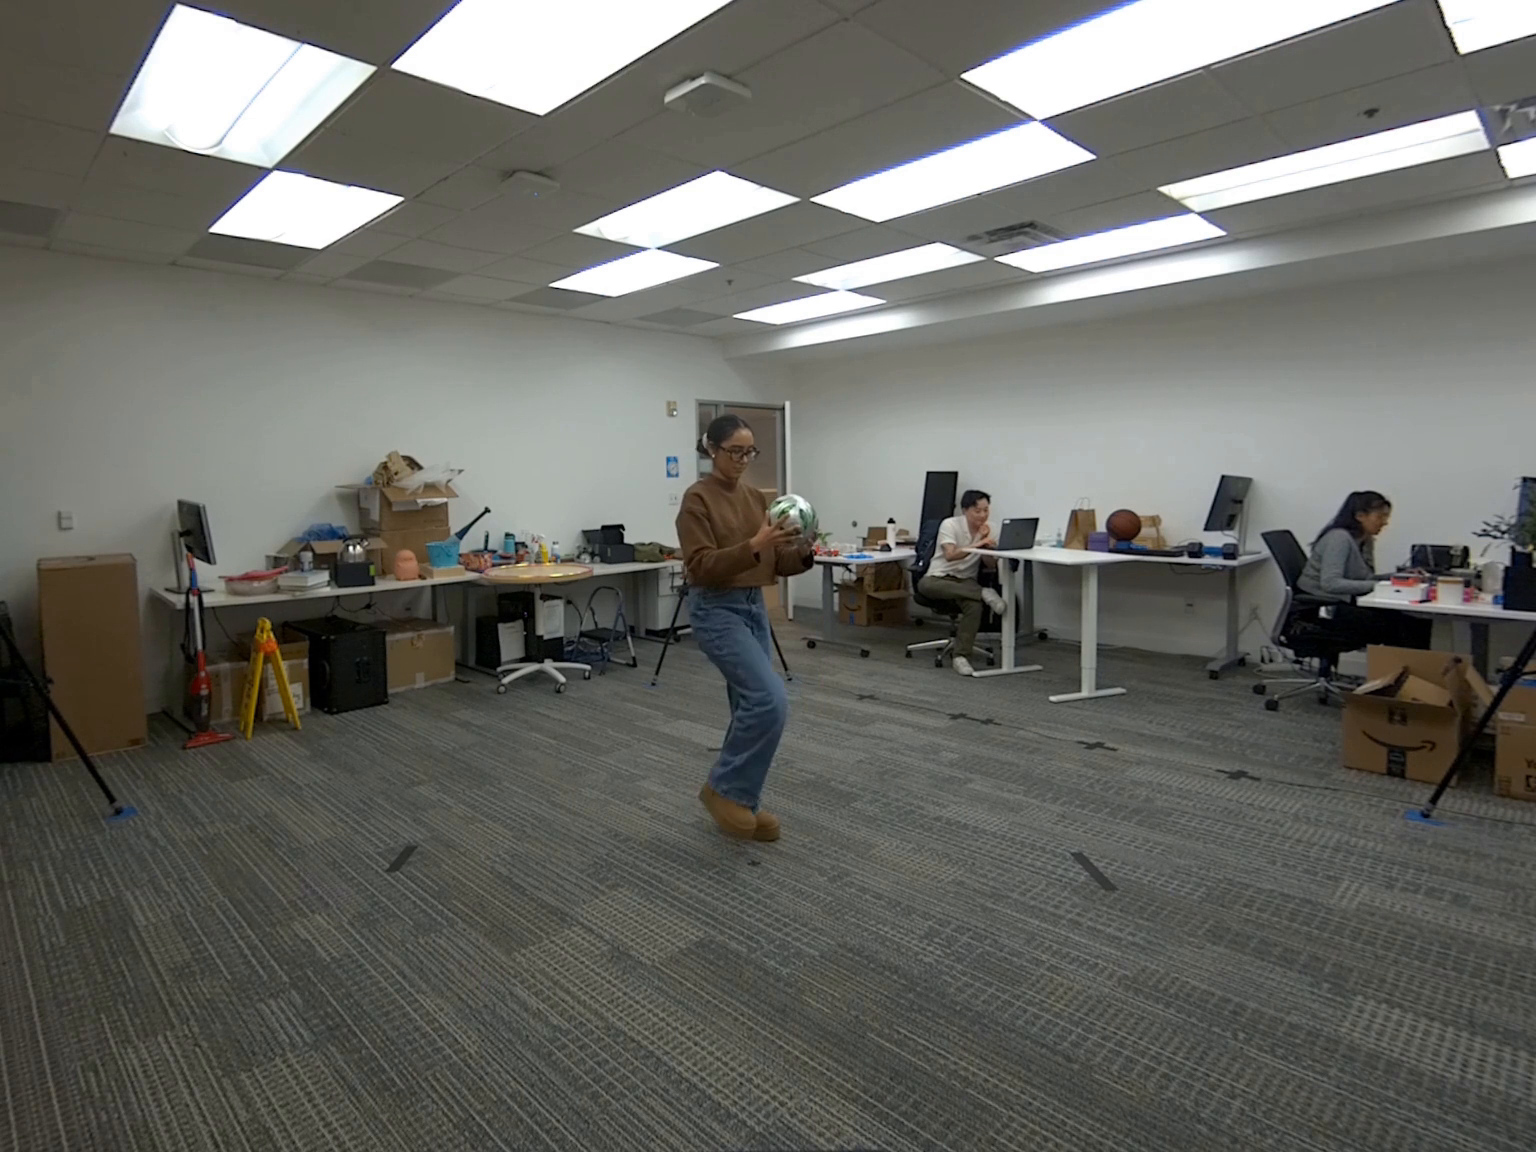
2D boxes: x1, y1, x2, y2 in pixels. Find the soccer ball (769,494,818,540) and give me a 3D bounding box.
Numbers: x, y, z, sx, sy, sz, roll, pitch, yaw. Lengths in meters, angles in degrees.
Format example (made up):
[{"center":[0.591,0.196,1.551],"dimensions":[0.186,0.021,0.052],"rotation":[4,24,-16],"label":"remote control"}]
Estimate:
[{"center":[0.083,-0.188,3.050],"dimensions":[0.187,0.187,0.188],"rotation":[-1,5,-2],"label":"soccer ball"}]
